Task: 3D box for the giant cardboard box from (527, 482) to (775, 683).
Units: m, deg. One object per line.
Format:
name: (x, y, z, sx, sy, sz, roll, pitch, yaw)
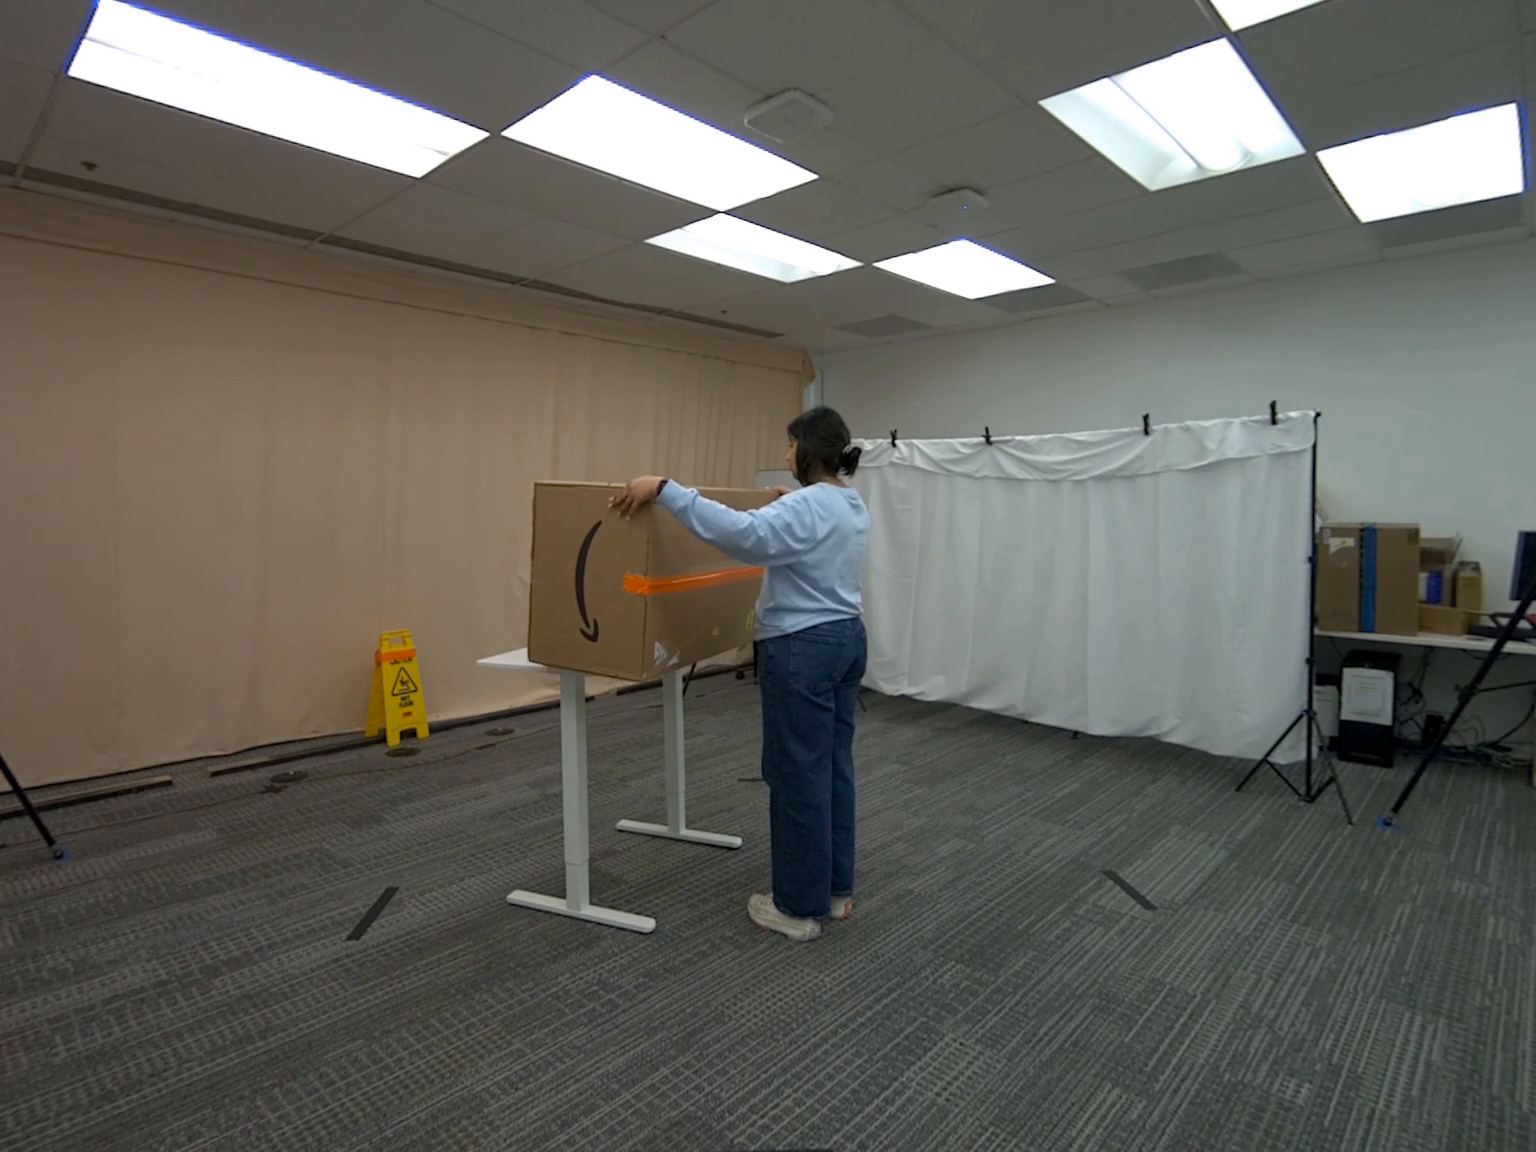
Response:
giant cardboard box: (-0.346, -0.029, 2.994, 0.437, 0.576, 1.002, 6, 6, 24)
